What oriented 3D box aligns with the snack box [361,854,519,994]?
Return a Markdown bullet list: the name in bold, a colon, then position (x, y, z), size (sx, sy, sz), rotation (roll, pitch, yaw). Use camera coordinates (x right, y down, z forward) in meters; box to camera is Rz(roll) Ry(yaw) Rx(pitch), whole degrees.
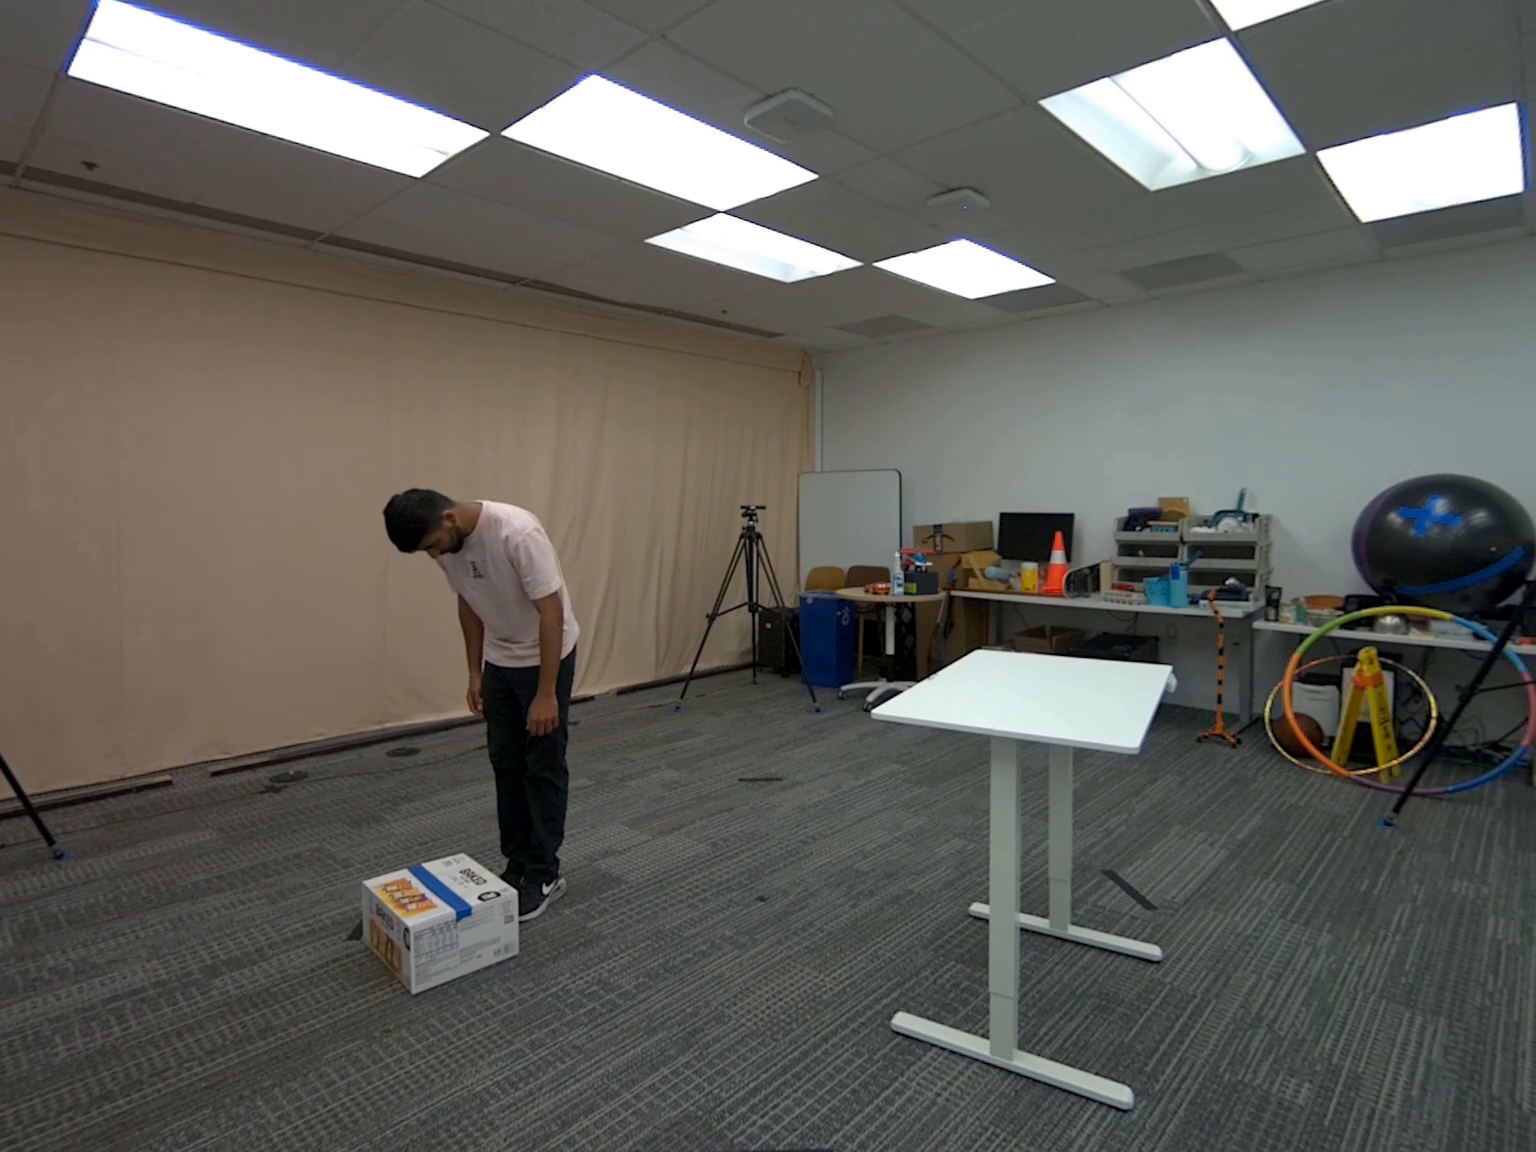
- **snack box**: position (-1.040, 1.081, 2.650), size (0.330, 0.205, 0.418), rotation (-4, 6, -42)
